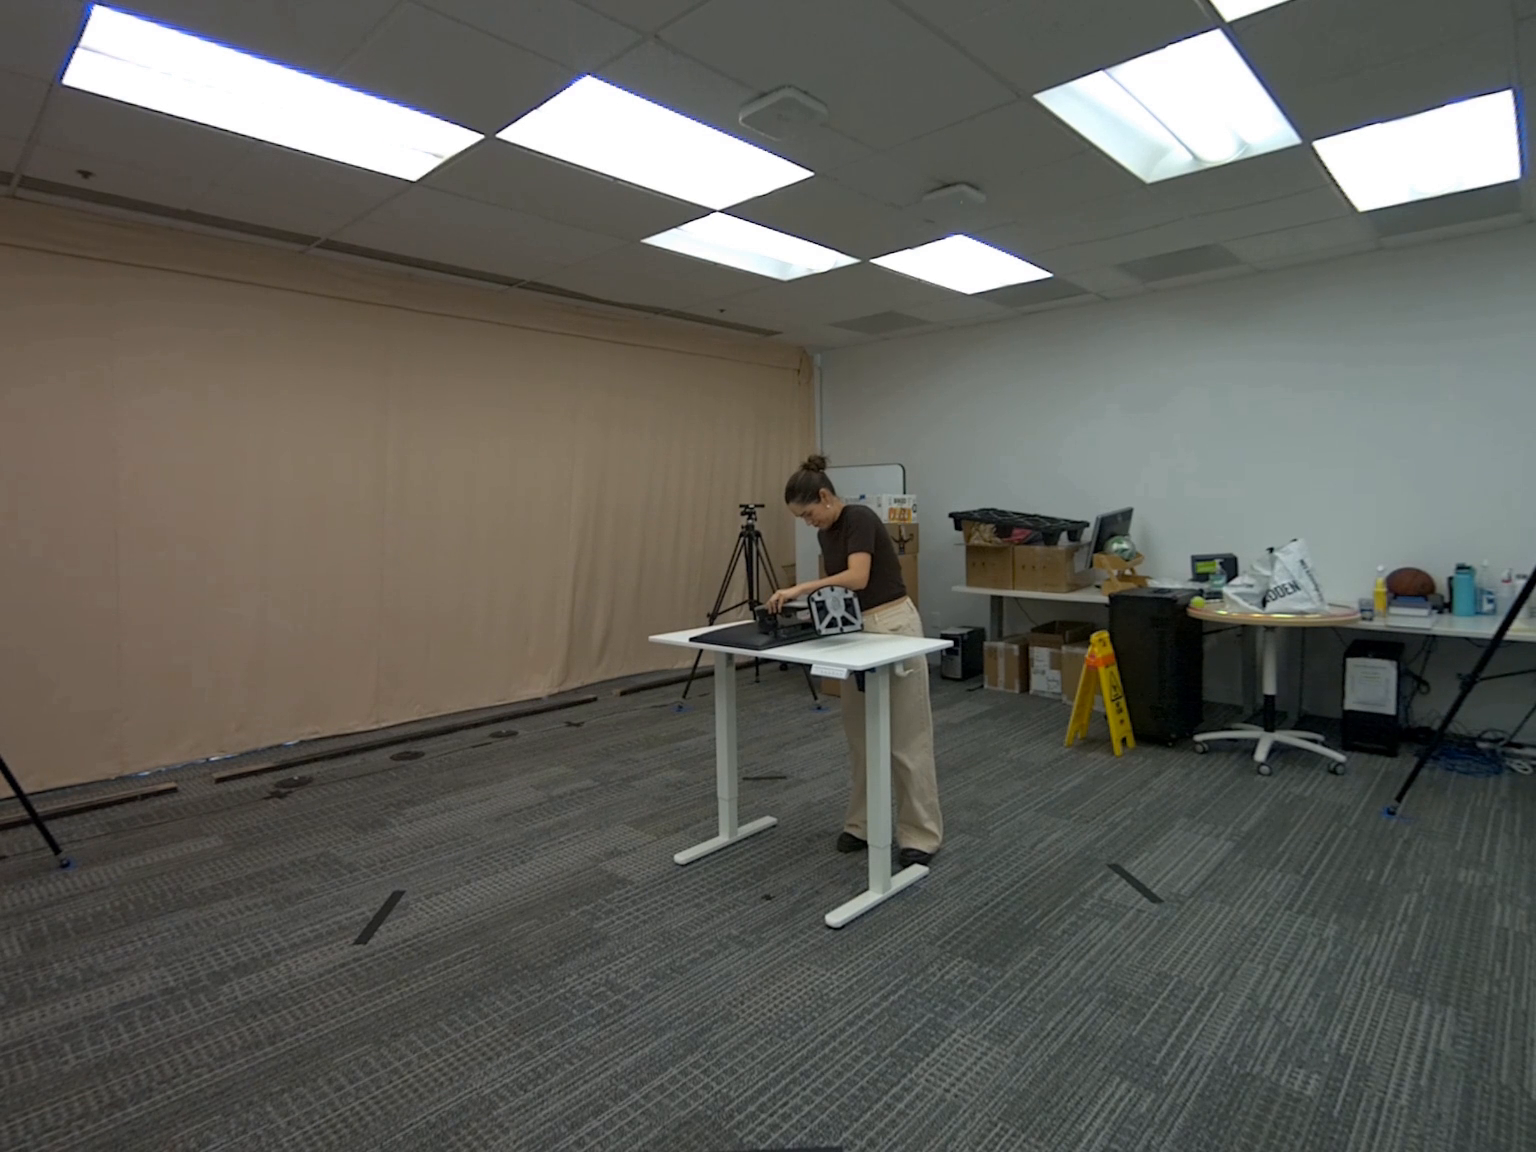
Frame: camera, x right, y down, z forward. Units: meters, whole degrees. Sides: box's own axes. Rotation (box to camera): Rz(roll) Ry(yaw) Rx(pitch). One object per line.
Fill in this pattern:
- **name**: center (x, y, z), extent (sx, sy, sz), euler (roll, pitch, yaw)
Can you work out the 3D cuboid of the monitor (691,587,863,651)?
- **monitor**: center (0.066, 0.179, 3.169), extent (0.535, 0.188, 0.522), euler (-17, -9, 43)
